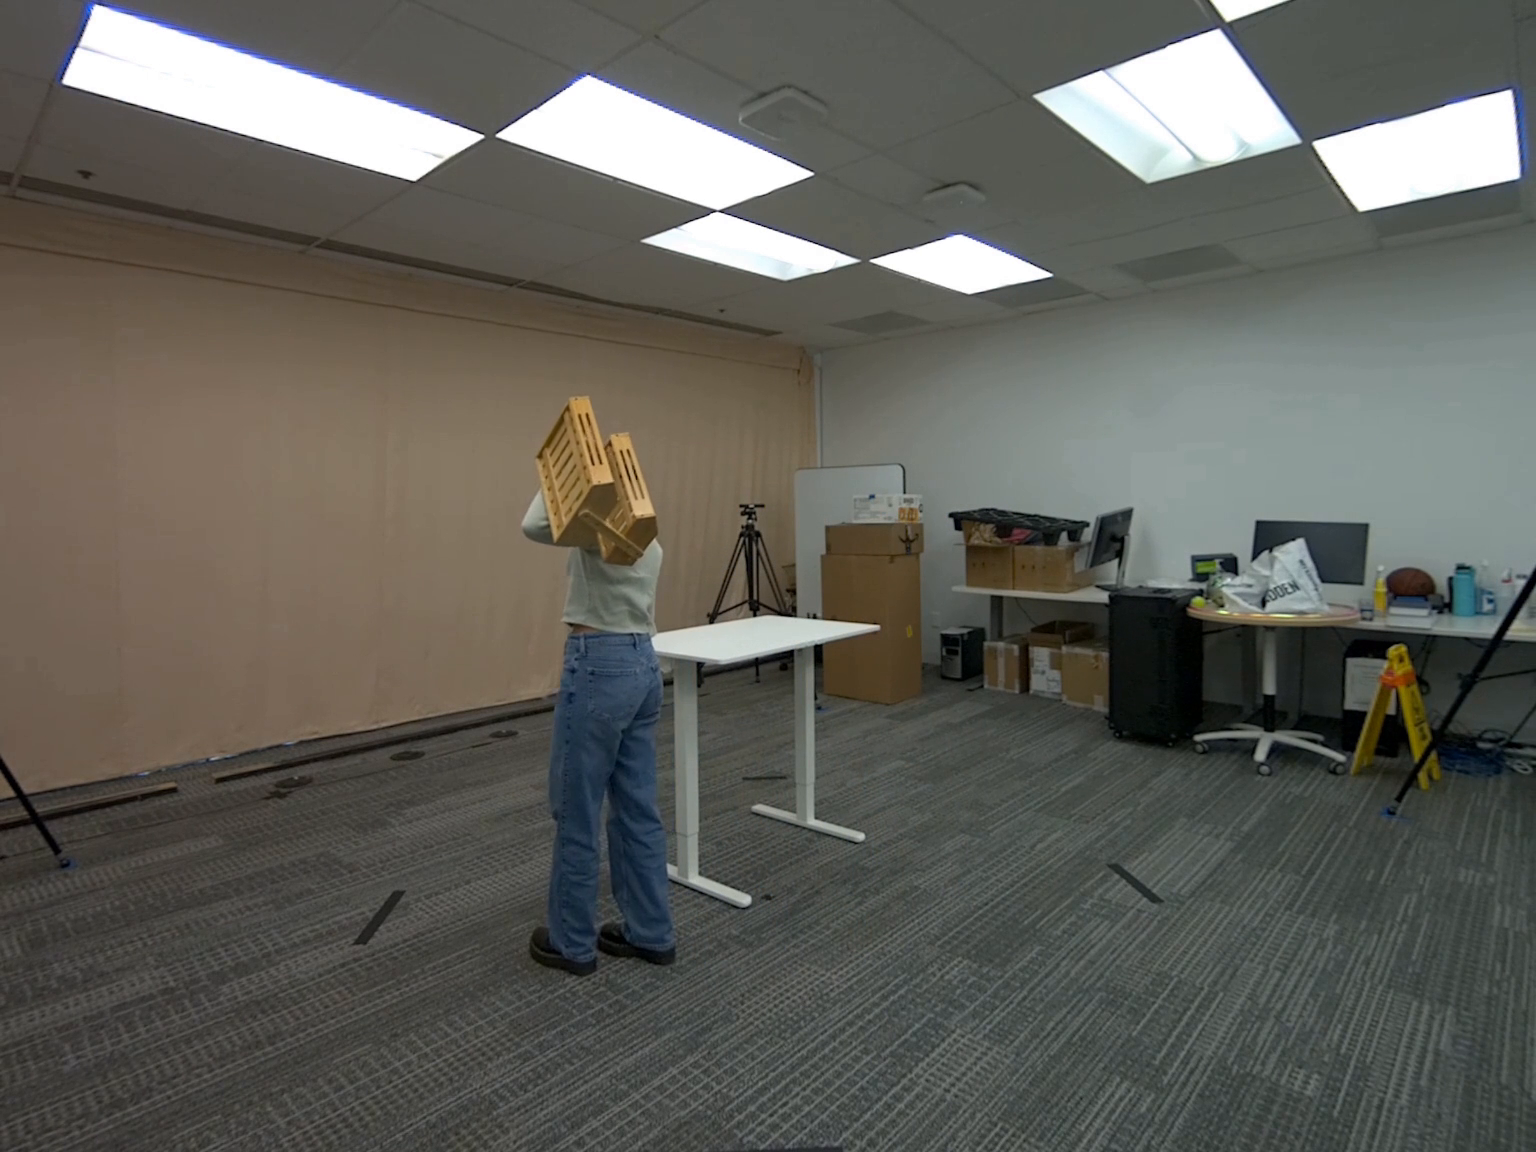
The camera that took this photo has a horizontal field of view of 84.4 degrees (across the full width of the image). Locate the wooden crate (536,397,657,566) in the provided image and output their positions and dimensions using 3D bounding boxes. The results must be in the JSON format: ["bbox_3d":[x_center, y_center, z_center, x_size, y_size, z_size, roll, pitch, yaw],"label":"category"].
[{"bbox_3d":[-0.428,-0.247,2.235,0.264,0.333,0.304,9,-41,-38],"label":"wooden crate"}]
